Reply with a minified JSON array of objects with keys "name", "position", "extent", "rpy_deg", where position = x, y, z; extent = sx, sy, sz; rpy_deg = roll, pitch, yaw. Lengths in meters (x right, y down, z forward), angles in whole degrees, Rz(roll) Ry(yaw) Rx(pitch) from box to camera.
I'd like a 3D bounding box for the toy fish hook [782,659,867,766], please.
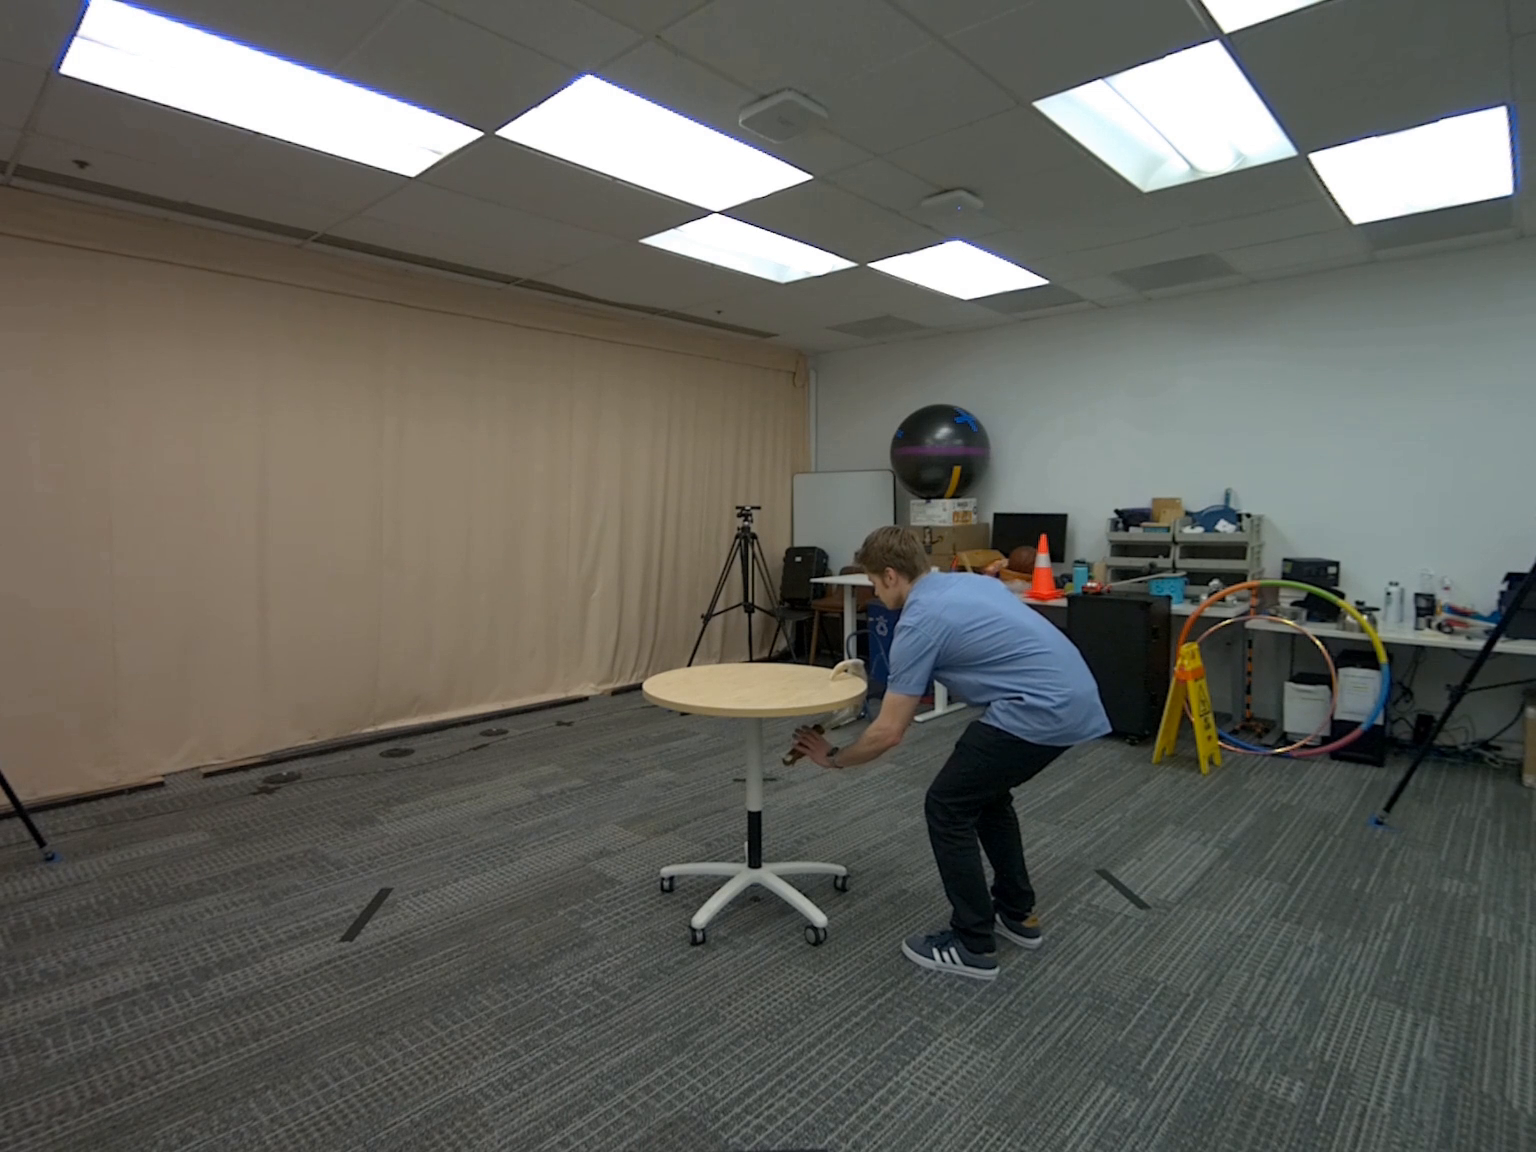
[{"name":"toy fish hook","position":[0.210,0.465,2.919],"extent":[0.050,0.221,0.498],"rpy_deg":[-4,23,46]}]
